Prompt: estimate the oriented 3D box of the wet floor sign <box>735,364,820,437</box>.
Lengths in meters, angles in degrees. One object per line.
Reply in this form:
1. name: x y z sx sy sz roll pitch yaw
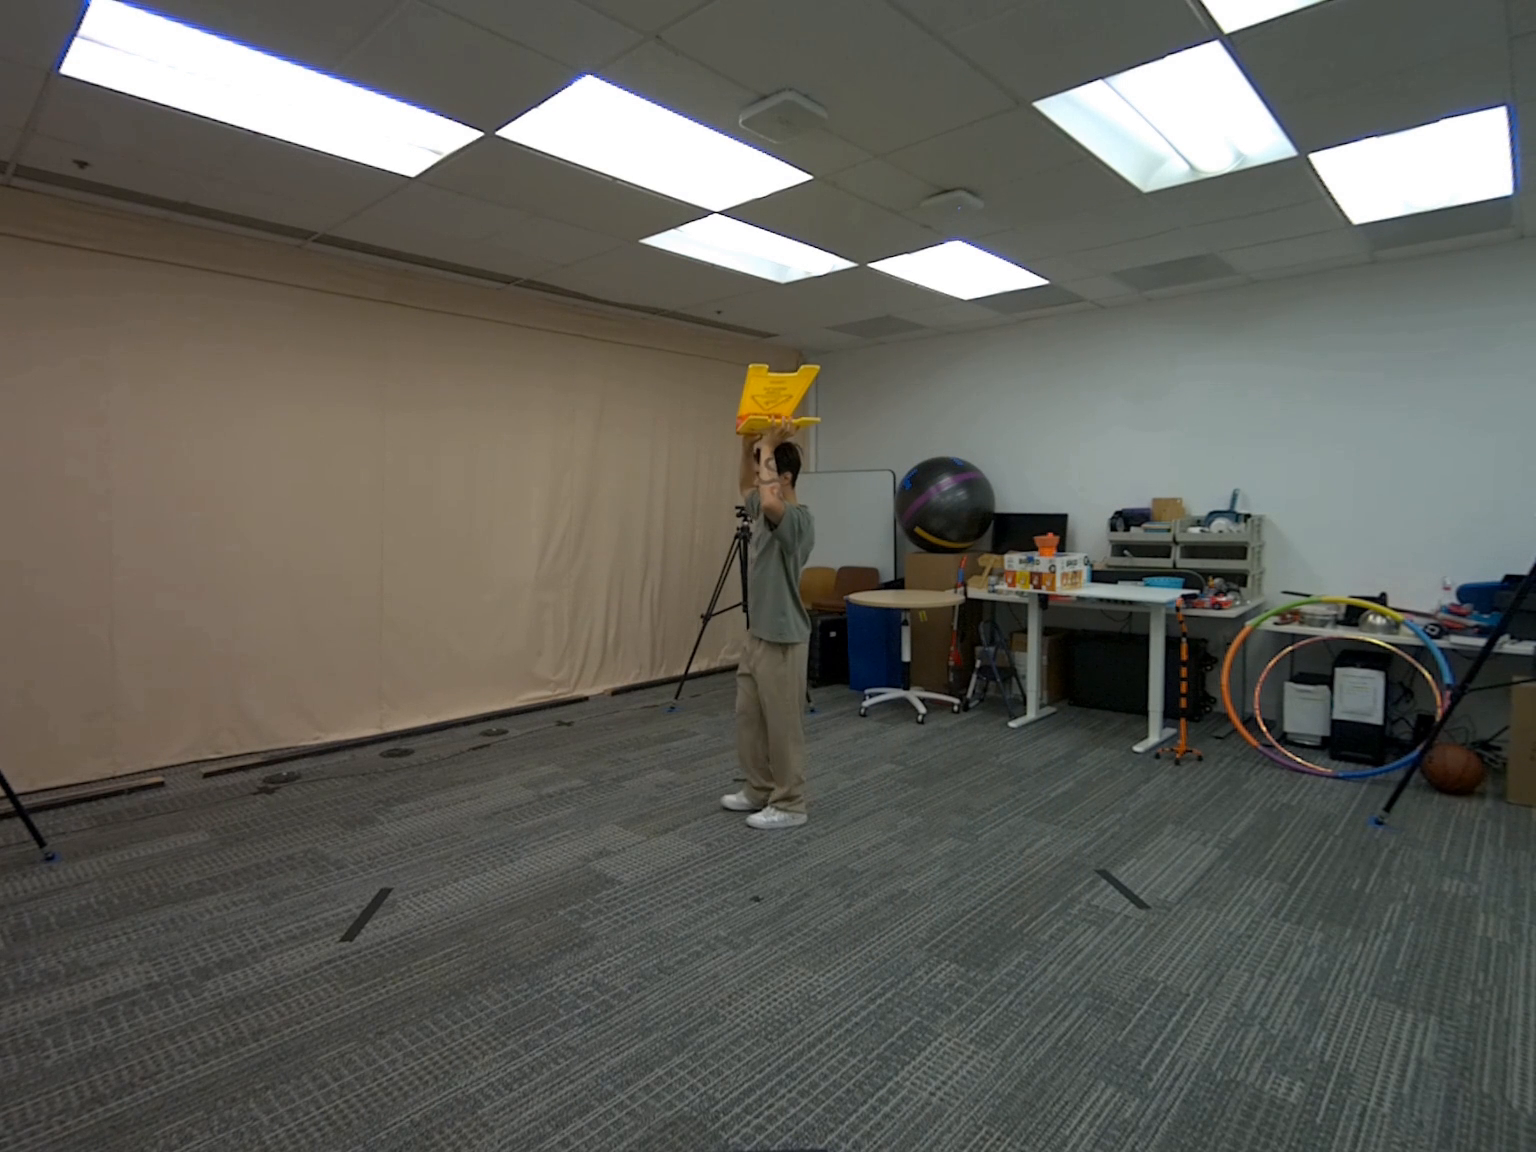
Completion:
1. wet floor sign: 0.022 -0.676 3.542 0.279 0.290 0.651 1 -3 -11
